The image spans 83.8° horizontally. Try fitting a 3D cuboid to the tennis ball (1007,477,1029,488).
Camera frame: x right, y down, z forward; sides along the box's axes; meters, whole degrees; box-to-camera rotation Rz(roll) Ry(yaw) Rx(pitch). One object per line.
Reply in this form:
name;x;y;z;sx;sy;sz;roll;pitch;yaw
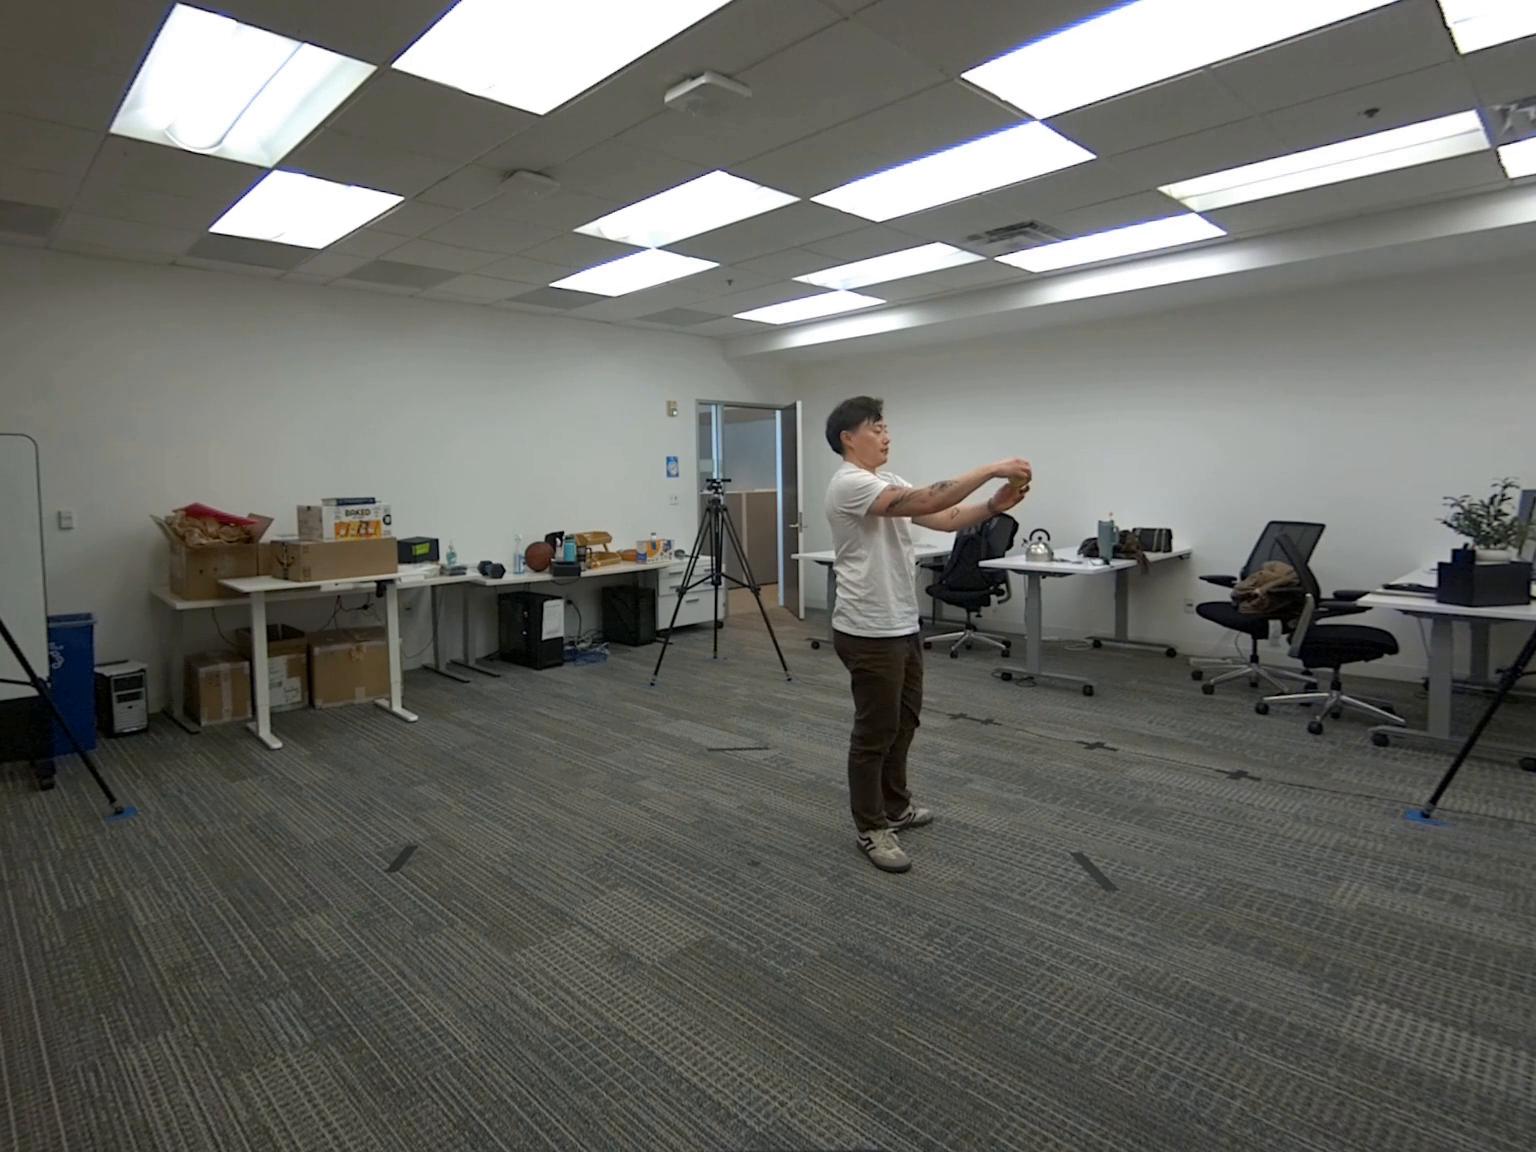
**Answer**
tennis ball;0.837;-0.338;2.874;0.066;0.066;0.067;-1;5;-2
